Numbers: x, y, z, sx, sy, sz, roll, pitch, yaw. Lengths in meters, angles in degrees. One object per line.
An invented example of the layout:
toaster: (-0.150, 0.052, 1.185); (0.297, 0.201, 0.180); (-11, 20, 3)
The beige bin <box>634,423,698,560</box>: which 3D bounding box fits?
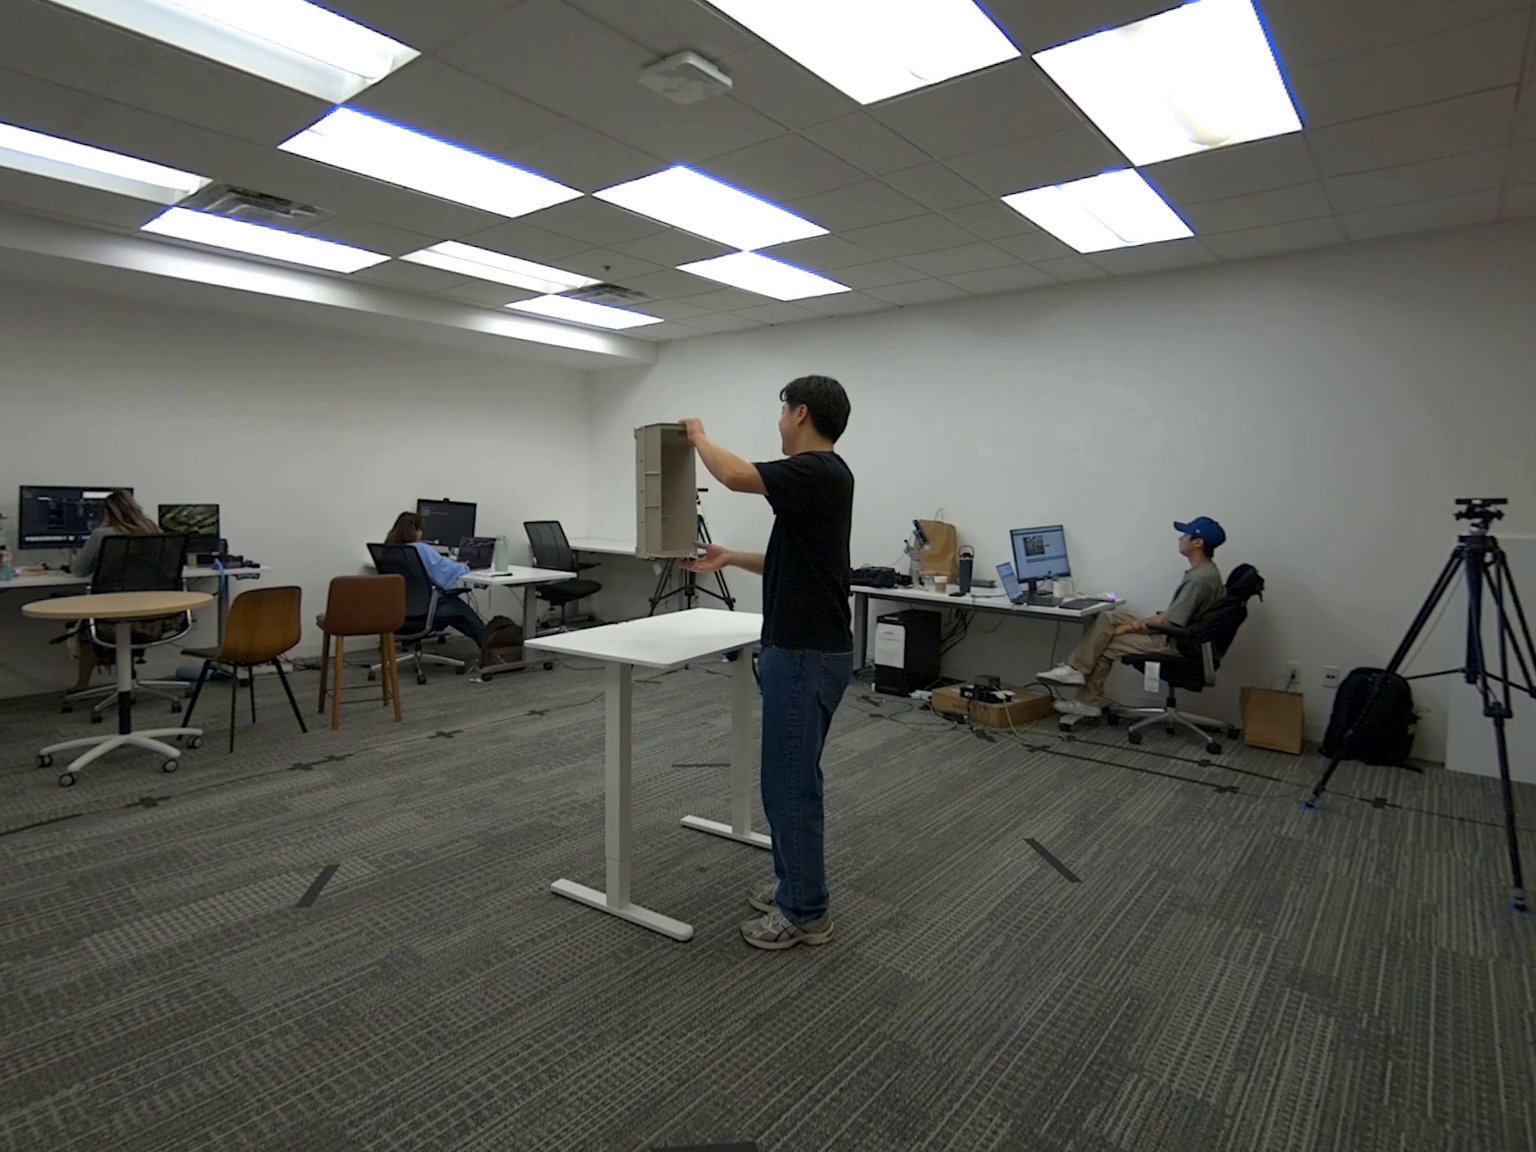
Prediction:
beige bin: (-0.326, -0.271, 2.818); (0.188, 0.423, 0.377); (-3, -1, -3)
